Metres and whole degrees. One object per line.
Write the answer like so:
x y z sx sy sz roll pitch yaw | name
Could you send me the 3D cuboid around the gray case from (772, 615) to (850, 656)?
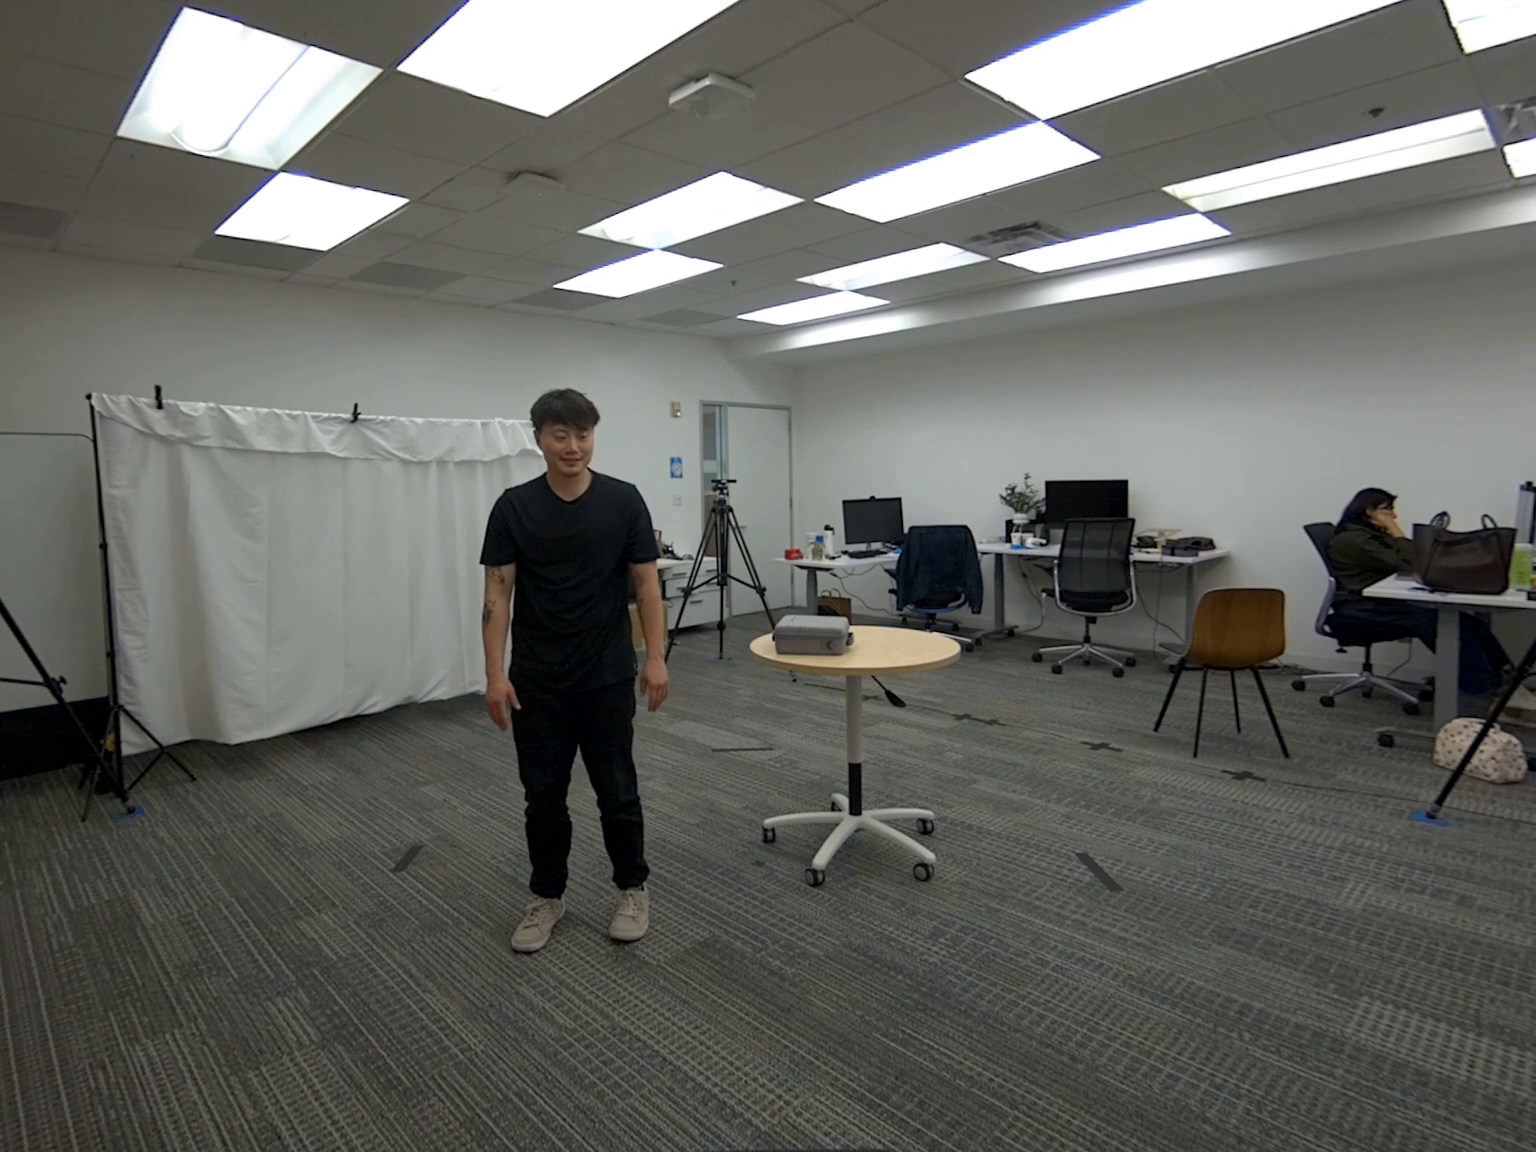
0.165 0.210 3.099 0.264 0.104 0.255 1 6 11 | gray case
